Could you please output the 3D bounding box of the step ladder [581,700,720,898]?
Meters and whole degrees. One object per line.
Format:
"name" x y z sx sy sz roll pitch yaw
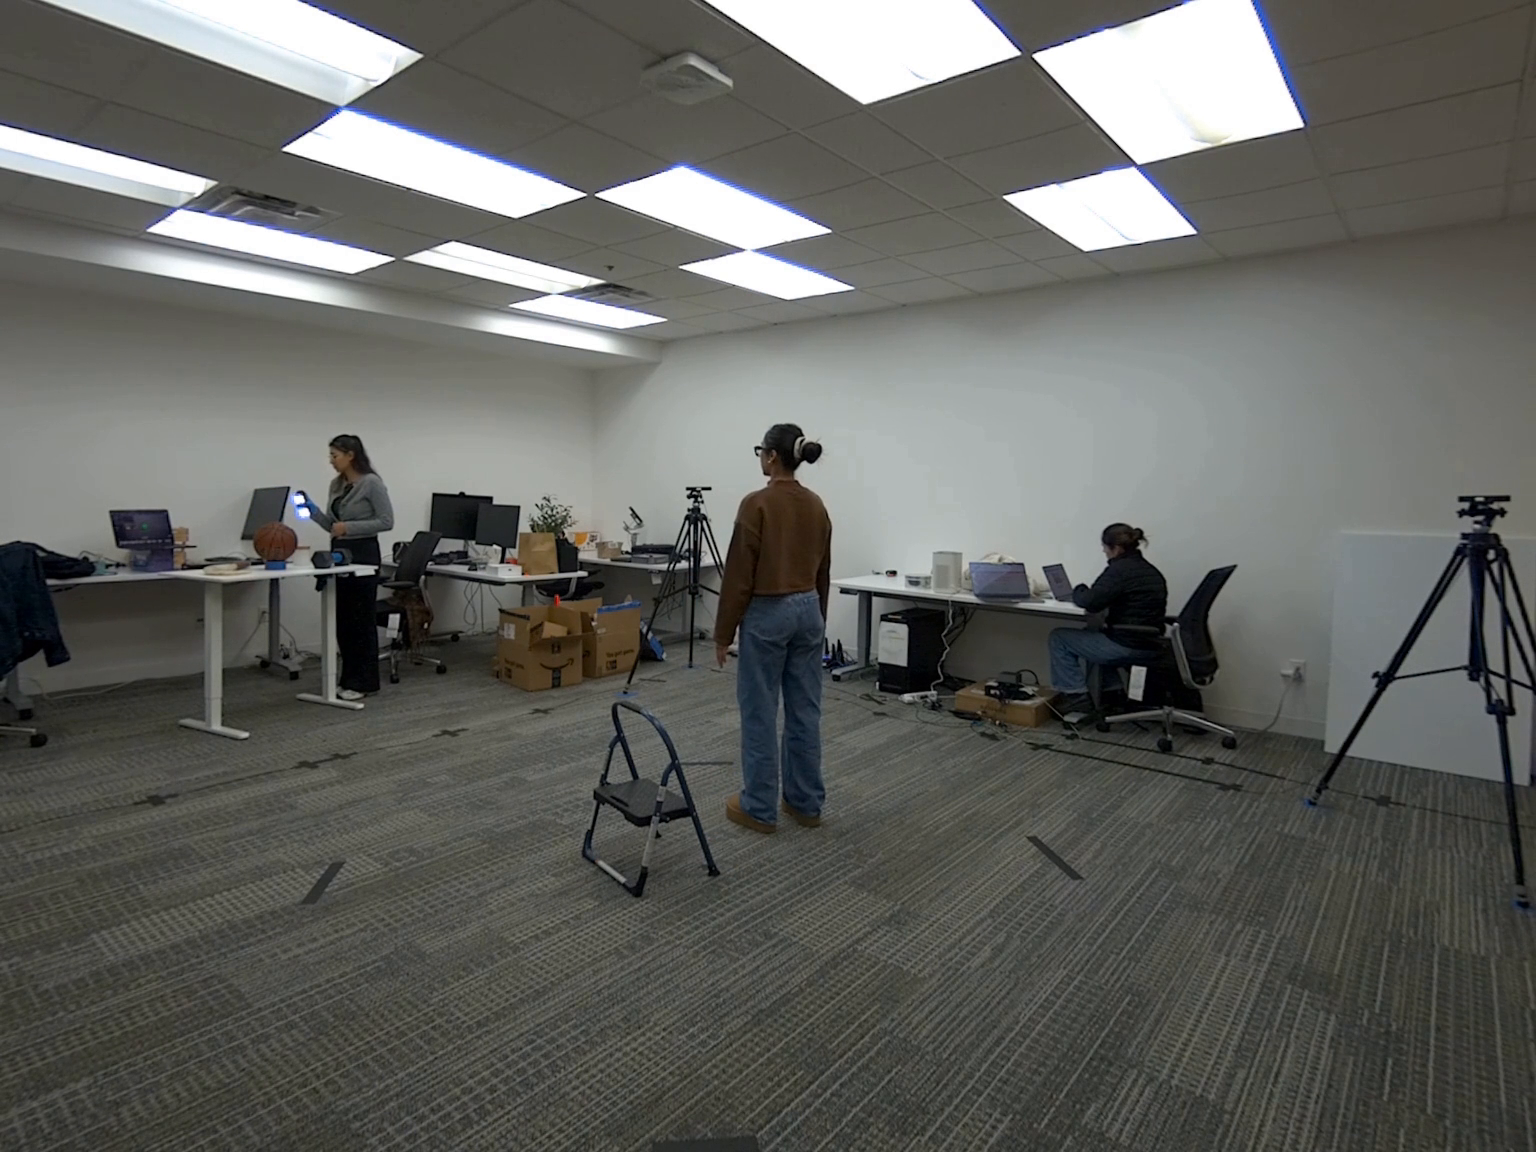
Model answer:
"step ladder" -0.447 0.755 3.117 0.339 0.604 0.445 -2 4 -39
